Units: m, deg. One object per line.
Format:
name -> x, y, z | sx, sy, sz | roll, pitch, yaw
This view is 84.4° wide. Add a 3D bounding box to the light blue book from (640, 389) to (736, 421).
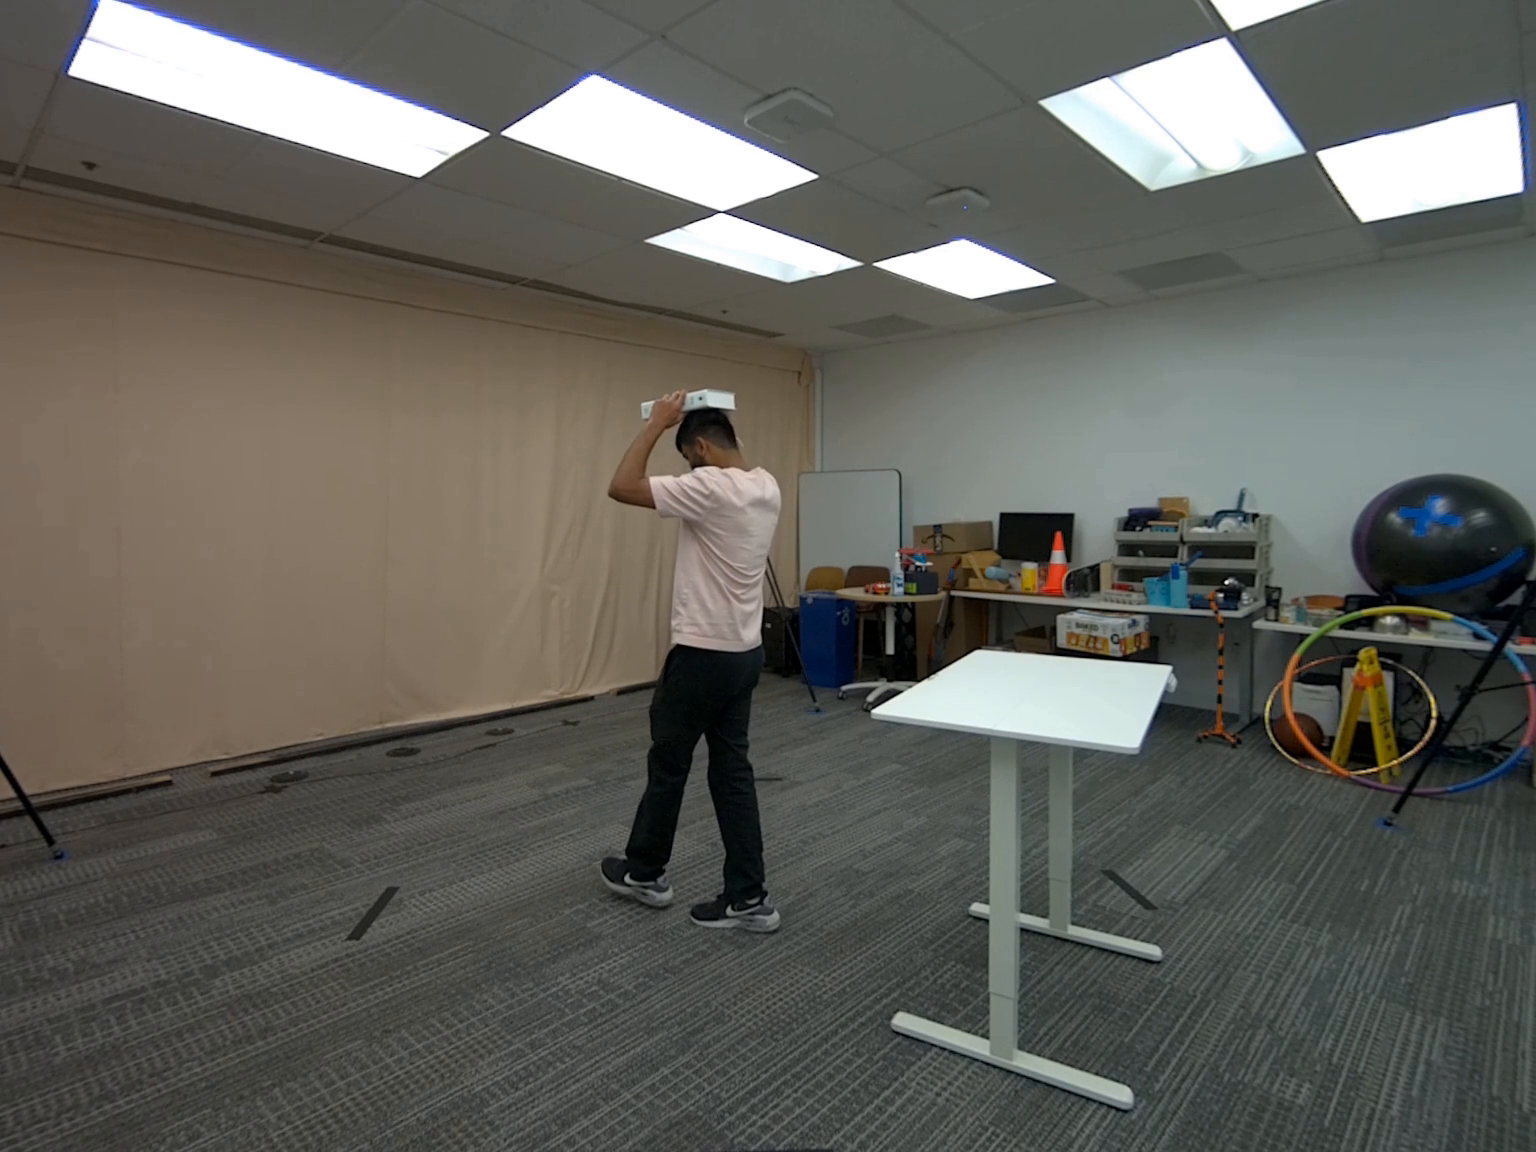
light blue book -> -0.262, -0.566, 2.833 | 0.268, 0.059, 0.187 | -4, 5, 28
